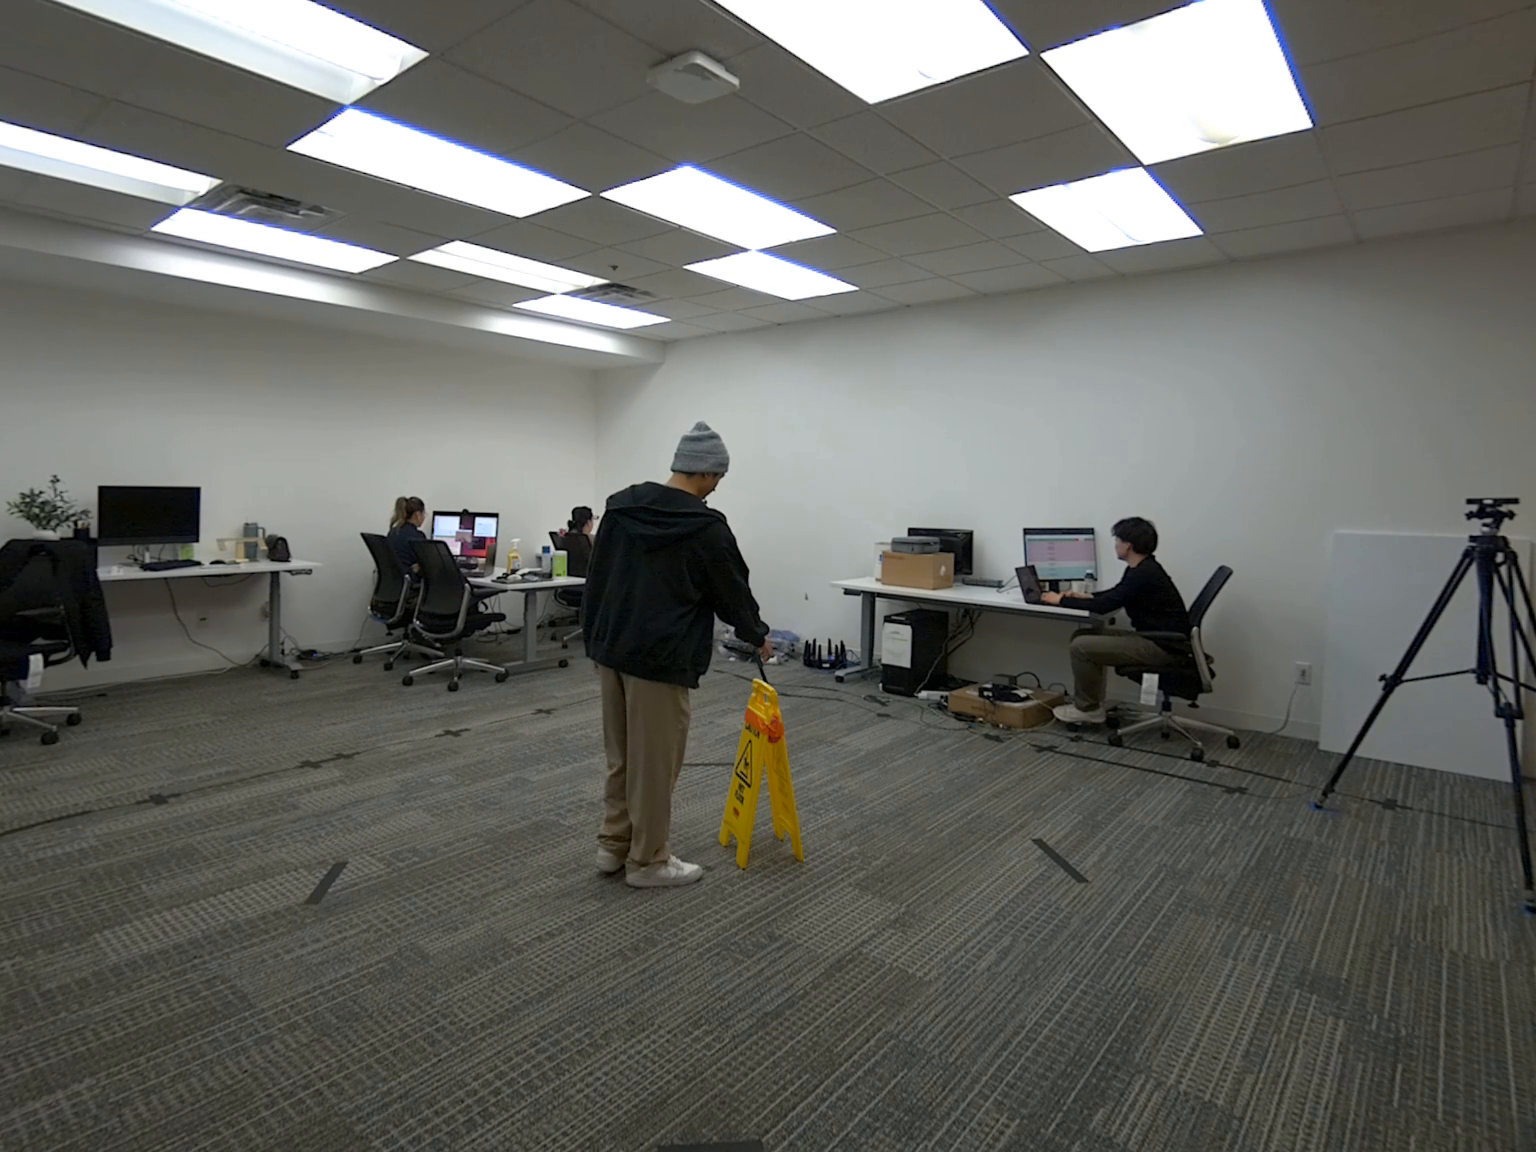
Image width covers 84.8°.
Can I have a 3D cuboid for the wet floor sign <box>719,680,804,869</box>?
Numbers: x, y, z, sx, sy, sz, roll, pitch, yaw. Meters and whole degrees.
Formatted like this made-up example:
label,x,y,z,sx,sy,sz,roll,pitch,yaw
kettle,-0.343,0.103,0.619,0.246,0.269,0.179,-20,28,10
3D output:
label,x,y,z,sx,sy,sz,roll,pitch,yaw
wet floor sign,-0.028,0.727,3.261,0.284,0.644,0.289,1,4,-19
